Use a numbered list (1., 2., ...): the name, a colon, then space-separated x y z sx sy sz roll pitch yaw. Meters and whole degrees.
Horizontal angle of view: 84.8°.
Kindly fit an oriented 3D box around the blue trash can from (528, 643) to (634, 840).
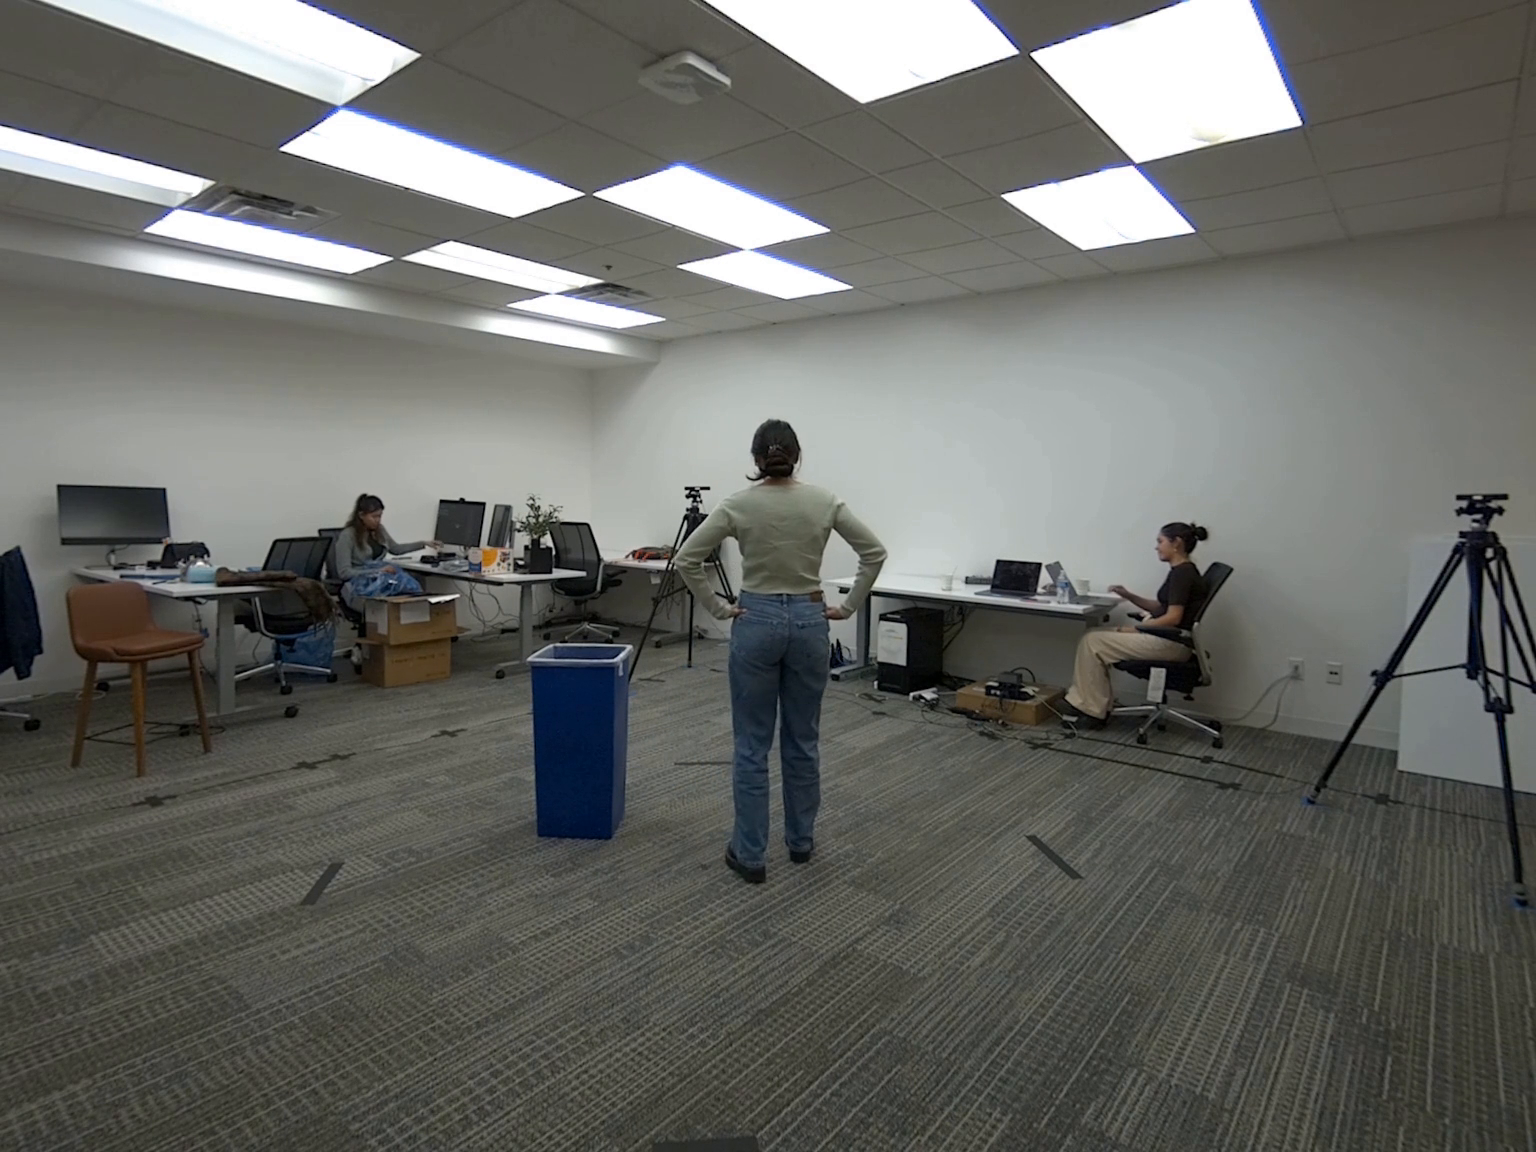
1. blue trash can: -0.782 0.662 3.500 0.379 0.711 0.374 1 3 2
